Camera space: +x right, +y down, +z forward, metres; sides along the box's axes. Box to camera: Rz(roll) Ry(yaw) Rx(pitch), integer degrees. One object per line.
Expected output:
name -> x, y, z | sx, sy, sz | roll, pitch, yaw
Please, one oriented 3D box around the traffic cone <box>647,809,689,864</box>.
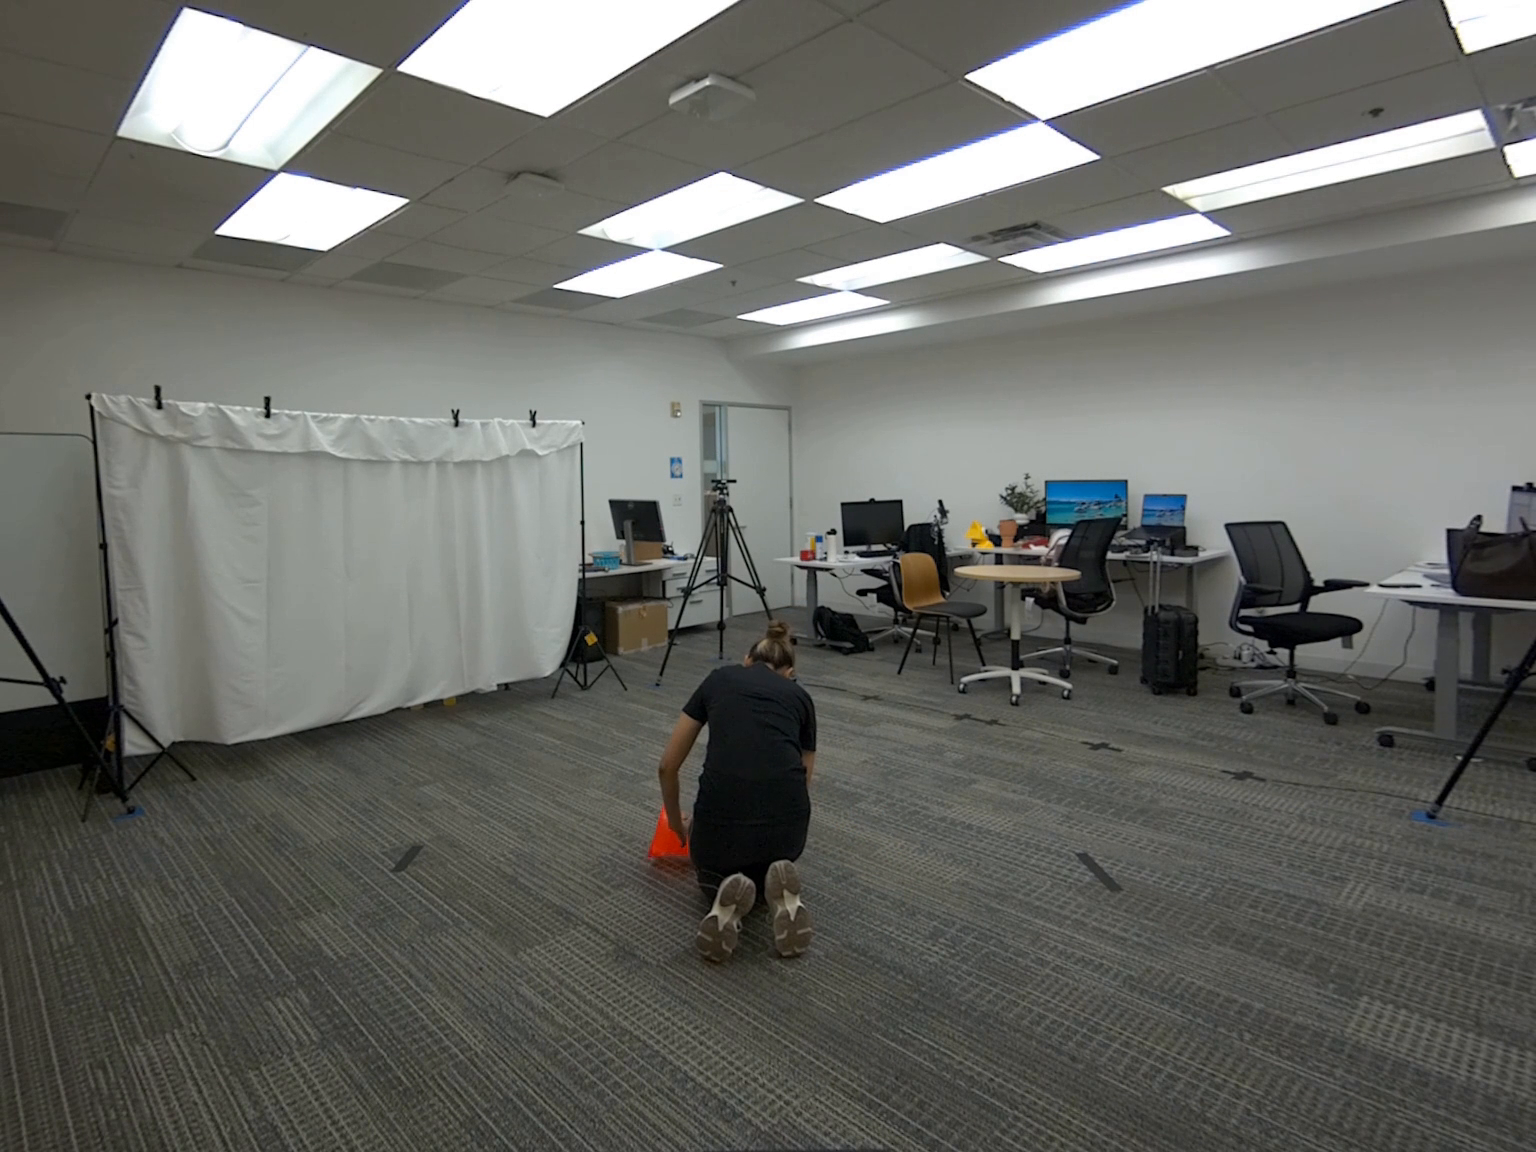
traffic cone -> -0.218, 0.981, 3.106 | 0.388, 0.203, 0.202 | 14, -2, 9
